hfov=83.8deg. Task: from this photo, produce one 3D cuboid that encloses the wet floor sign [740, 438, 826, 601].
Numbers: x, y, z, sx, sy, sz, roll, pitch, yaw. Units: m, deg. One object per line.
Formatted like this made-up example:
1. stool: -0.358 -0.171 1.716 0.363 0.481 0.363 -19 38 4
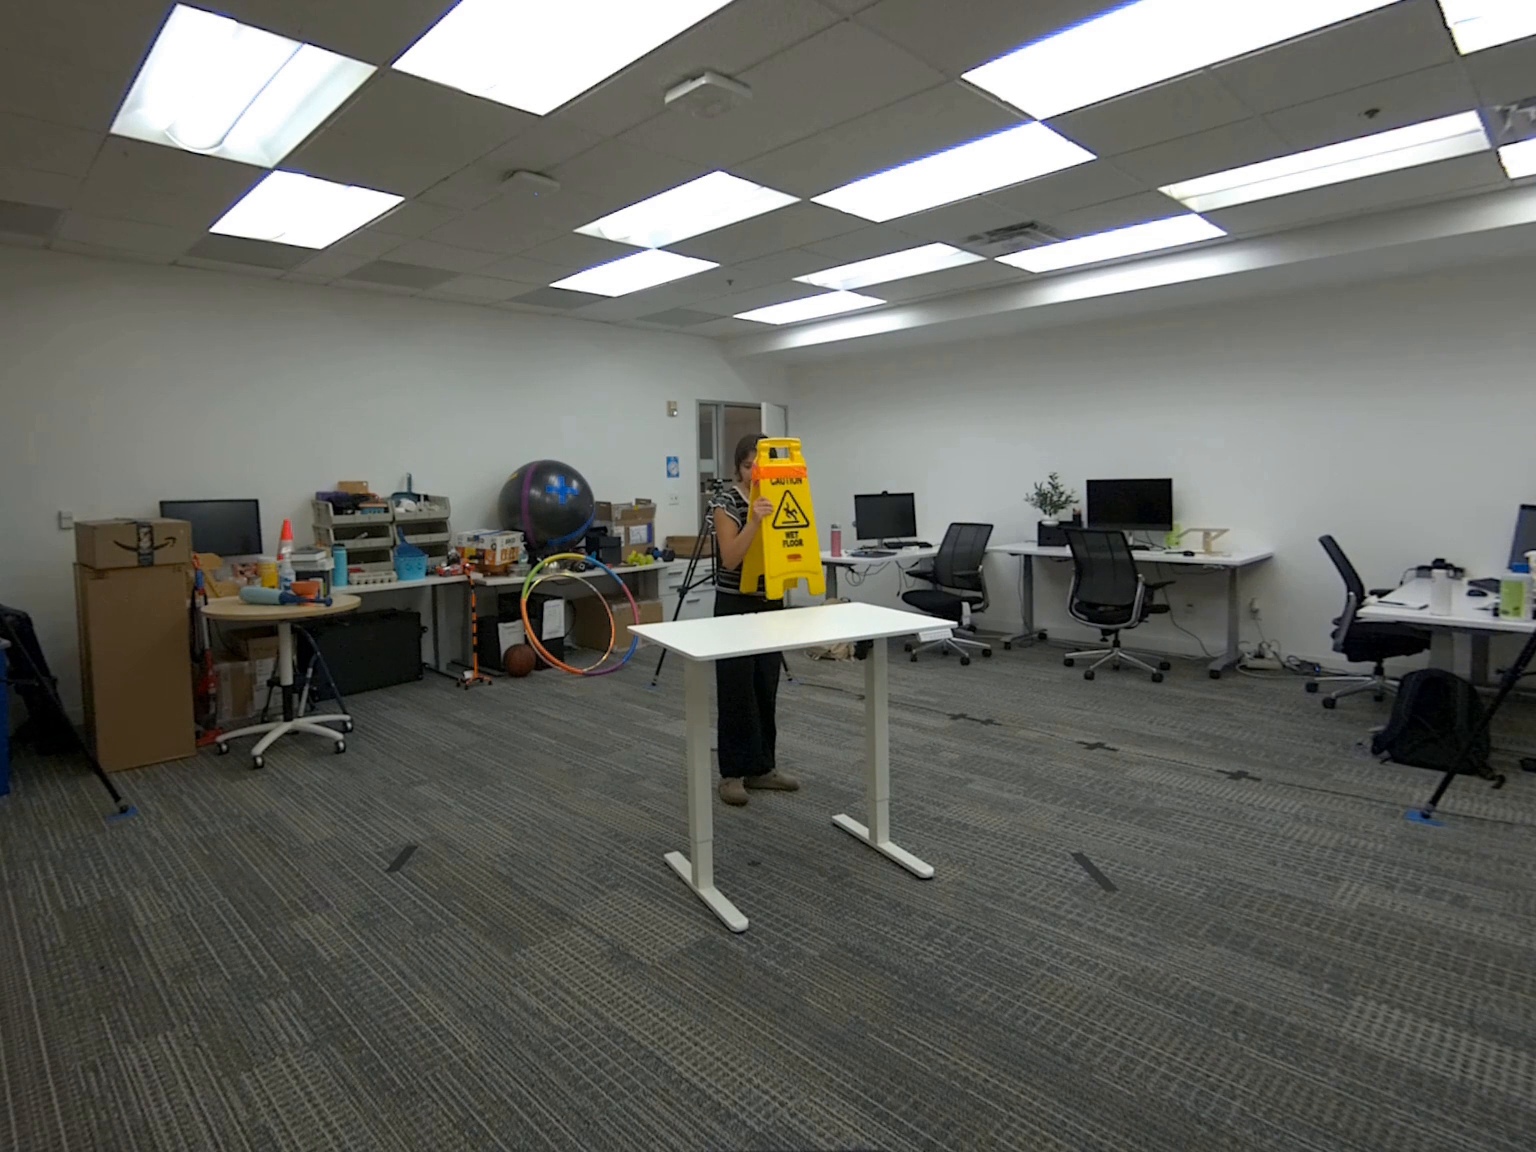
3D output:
1. wet floor sign: 0.045 -0.250 3.605 0.276 0.643 0.298 -4 6 -28
